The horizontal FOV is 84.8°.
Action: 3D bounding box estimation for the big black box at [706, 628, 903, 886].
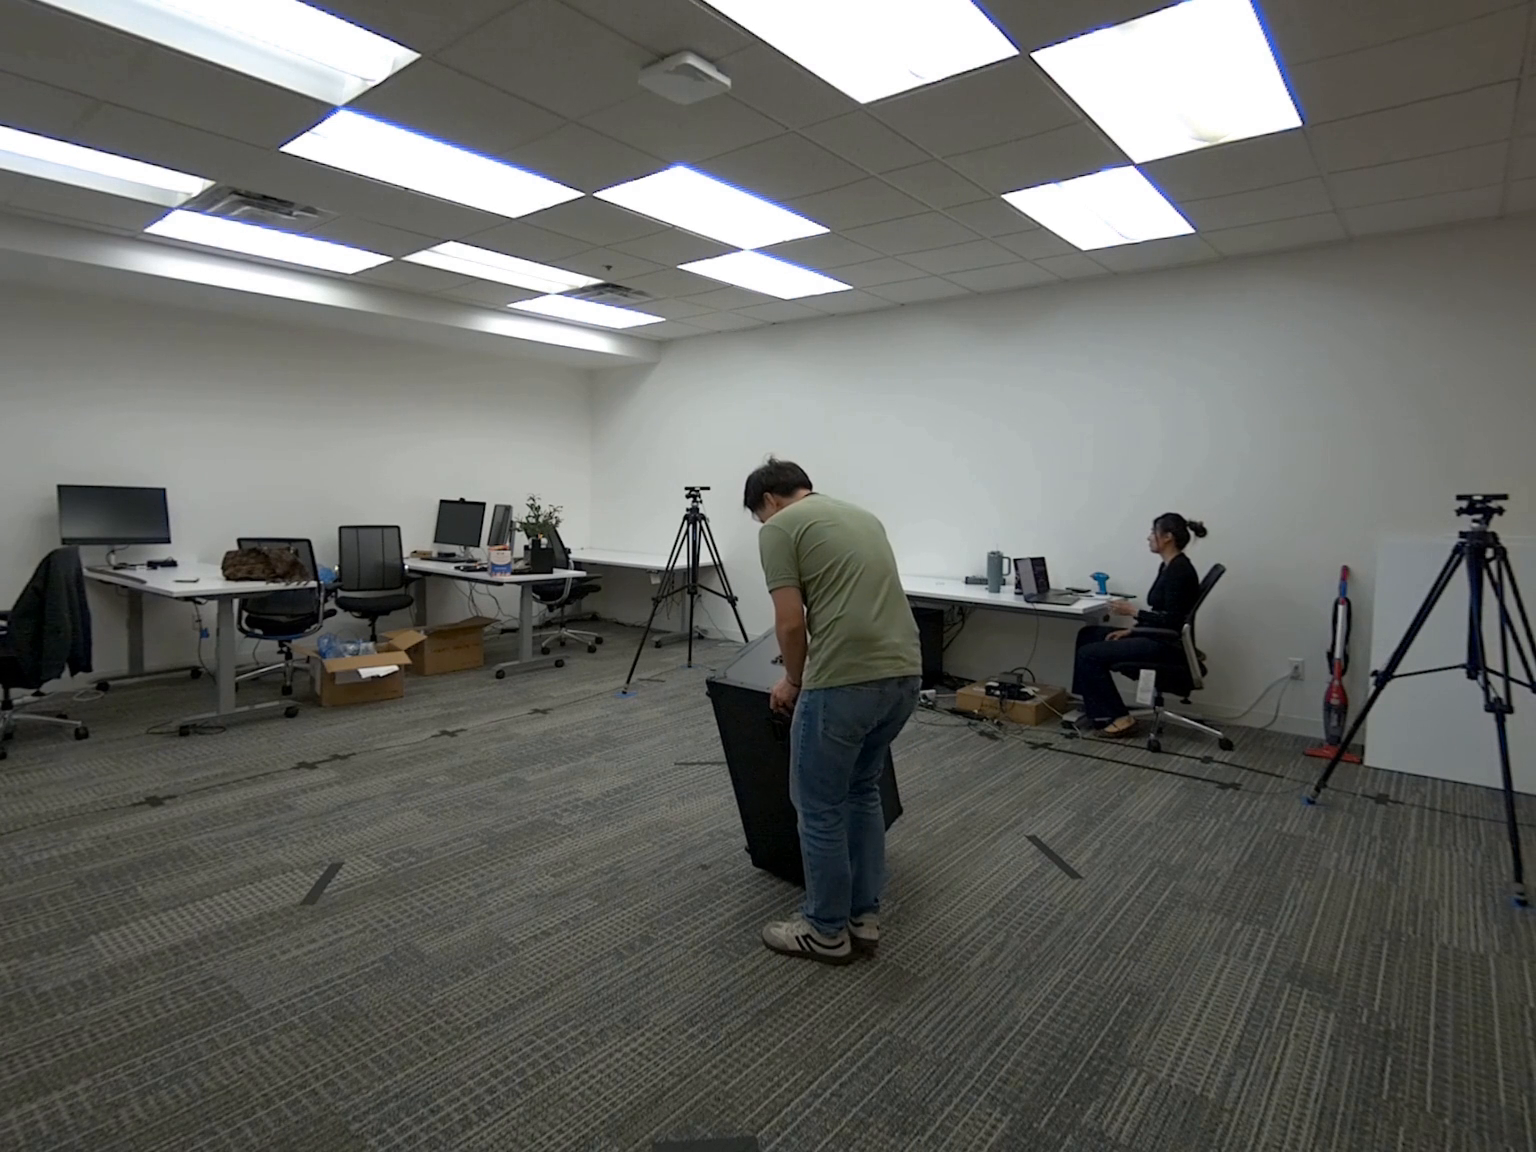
[{"bbox_3d":[0.129,0.643,3.020,0.409,0.844,0.515,3,24,41],"label":"big black box"}]
